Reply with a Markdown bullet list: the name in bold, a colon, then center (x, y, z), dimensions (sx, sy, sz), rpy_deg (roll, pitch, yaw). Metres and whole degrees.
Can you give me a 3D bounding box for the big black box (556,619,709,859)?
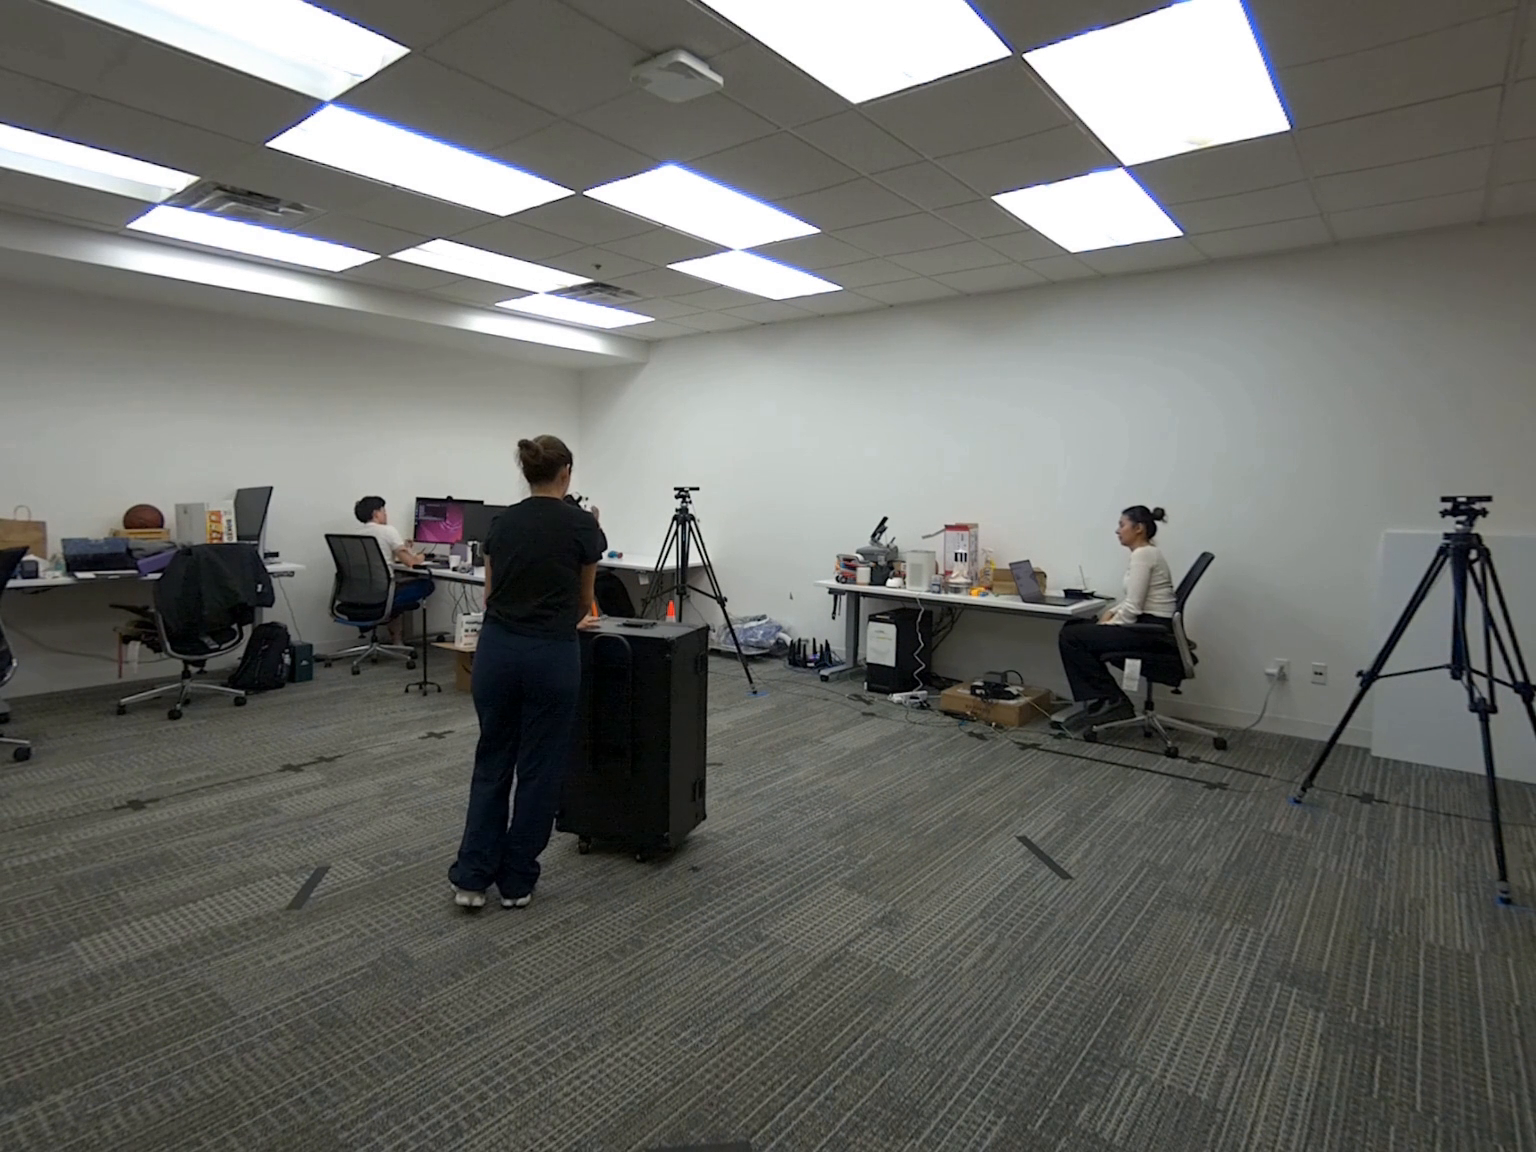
- **big black box**: center (-0.503, 0.614, 3.315), dimensions (0.533, 0.858, 0.389), rpy_deg (2, 4, 21)
